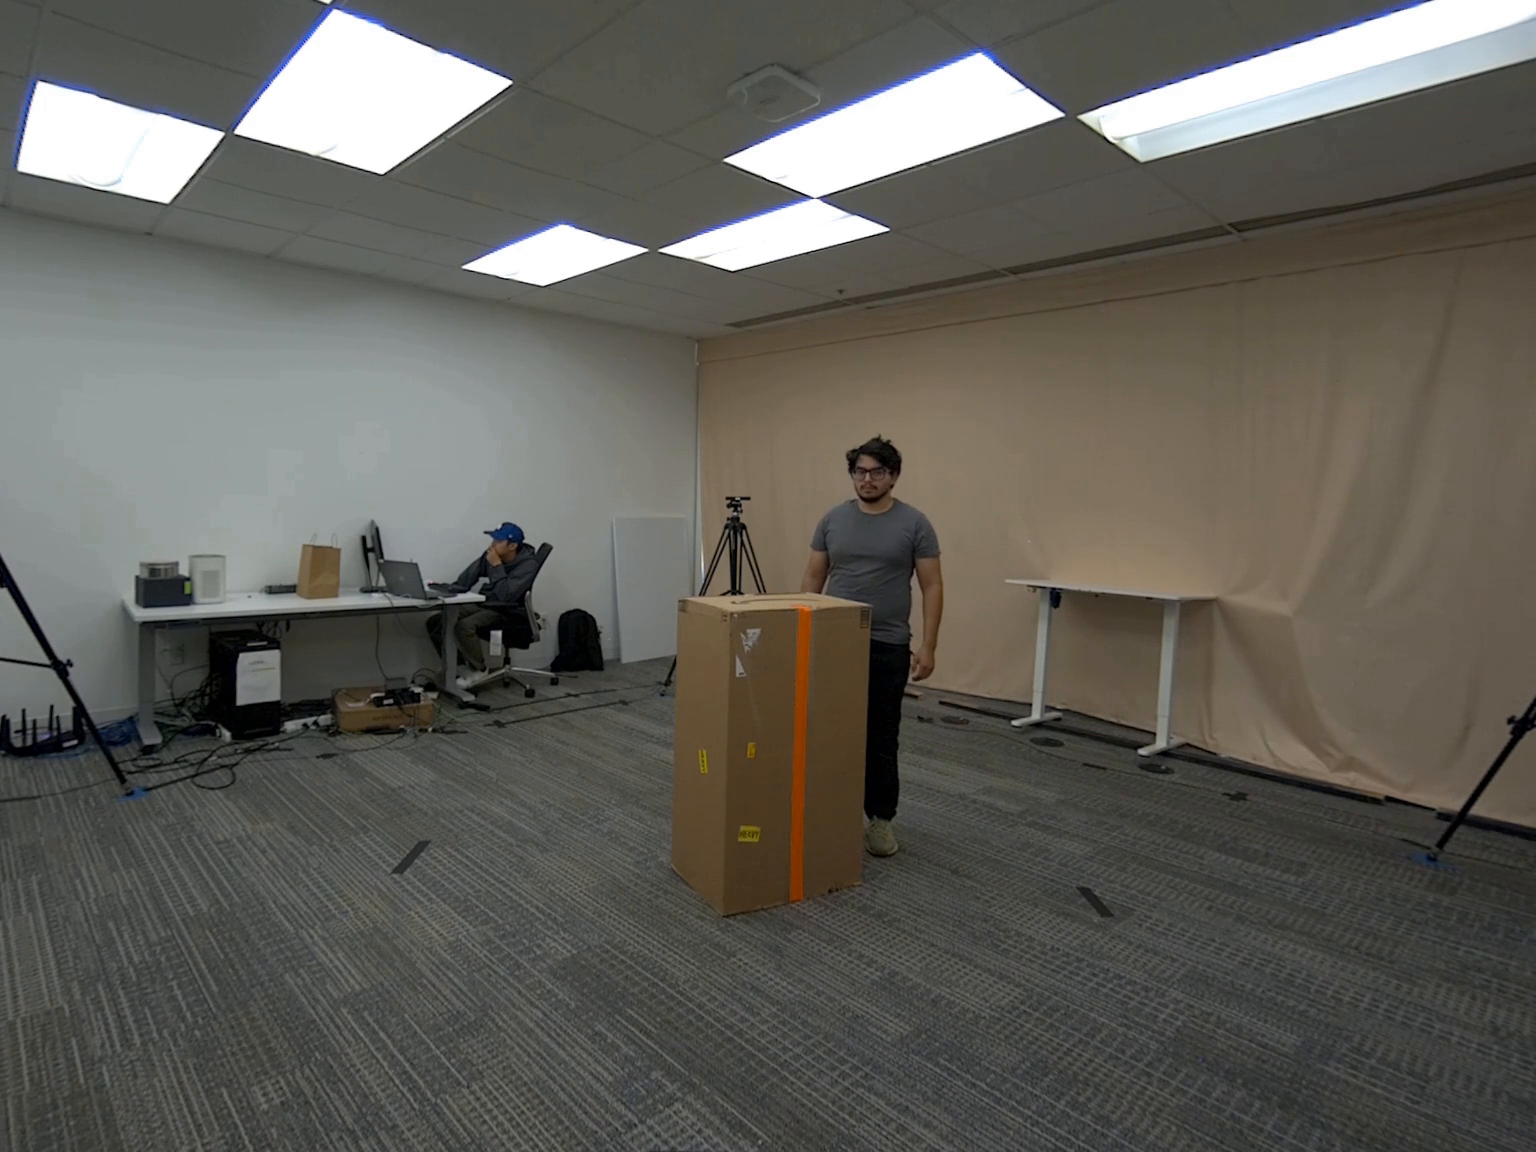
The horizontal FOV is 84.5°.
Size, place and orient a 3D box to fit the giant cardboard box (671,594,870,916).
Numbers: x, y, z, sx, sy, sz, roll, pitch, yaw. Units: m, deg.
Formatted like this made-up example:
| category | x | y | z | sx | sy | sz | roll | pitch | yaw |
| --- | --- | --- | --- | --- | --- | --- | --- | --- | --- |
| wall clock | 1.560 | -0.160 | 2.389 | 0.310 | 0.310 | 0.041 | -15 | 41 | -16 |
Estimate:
| category | x | y | z | sx | sy | sz | roll | pitch | yaw |
| --- | --- | --- | --- | --- | --- | --- | --- | --- | --- |
| giant cardboard box | -0.005 | 0.604 | 3.079 | 0.572 | 1.025 | 0.457 | 0 | 3 | -30 |
